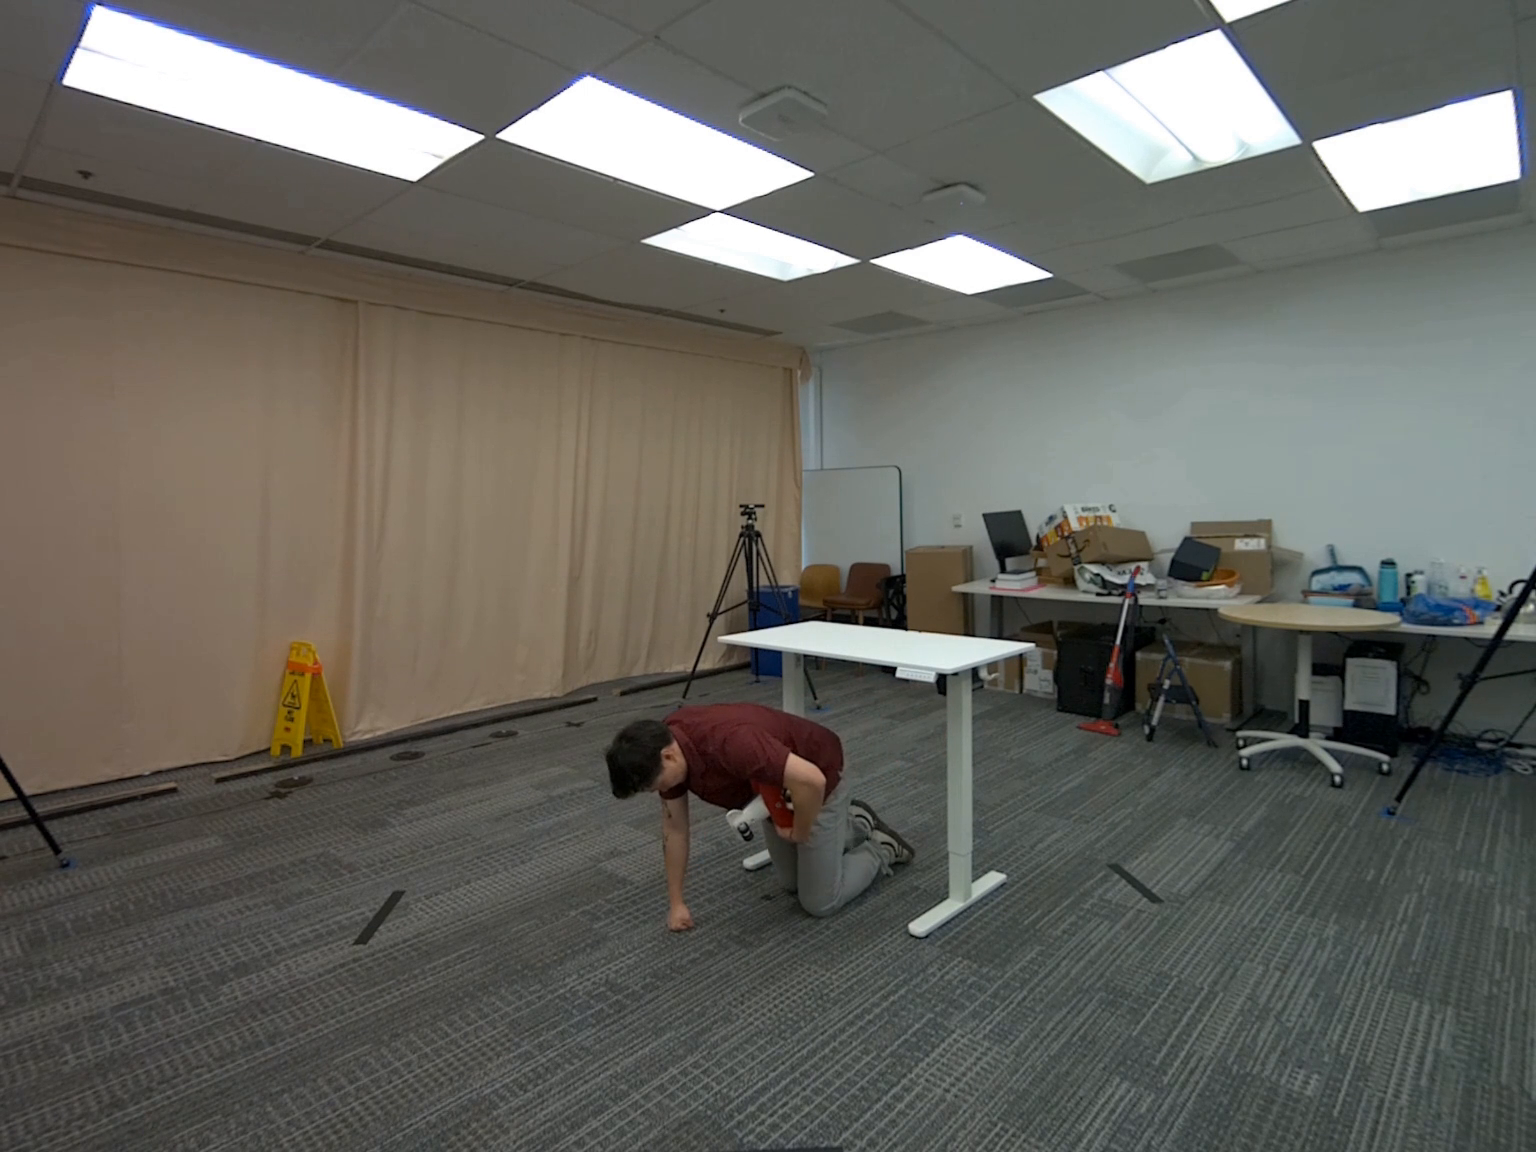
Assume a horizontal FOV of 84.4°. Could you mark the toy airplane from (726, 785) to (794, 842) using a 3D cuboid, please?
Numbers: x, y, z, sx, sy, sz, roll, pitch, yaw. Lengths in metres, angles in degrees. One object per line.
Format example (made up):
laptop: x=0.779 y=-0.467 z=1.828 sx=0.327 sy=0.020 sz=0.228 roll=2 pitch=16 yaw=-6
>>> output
toy airplane: x=-0.001 y=0.690 z=2.625 sx=0.256 sy=0.248 sz=0.160 roll=-3 pitch=18 yaw=-13
